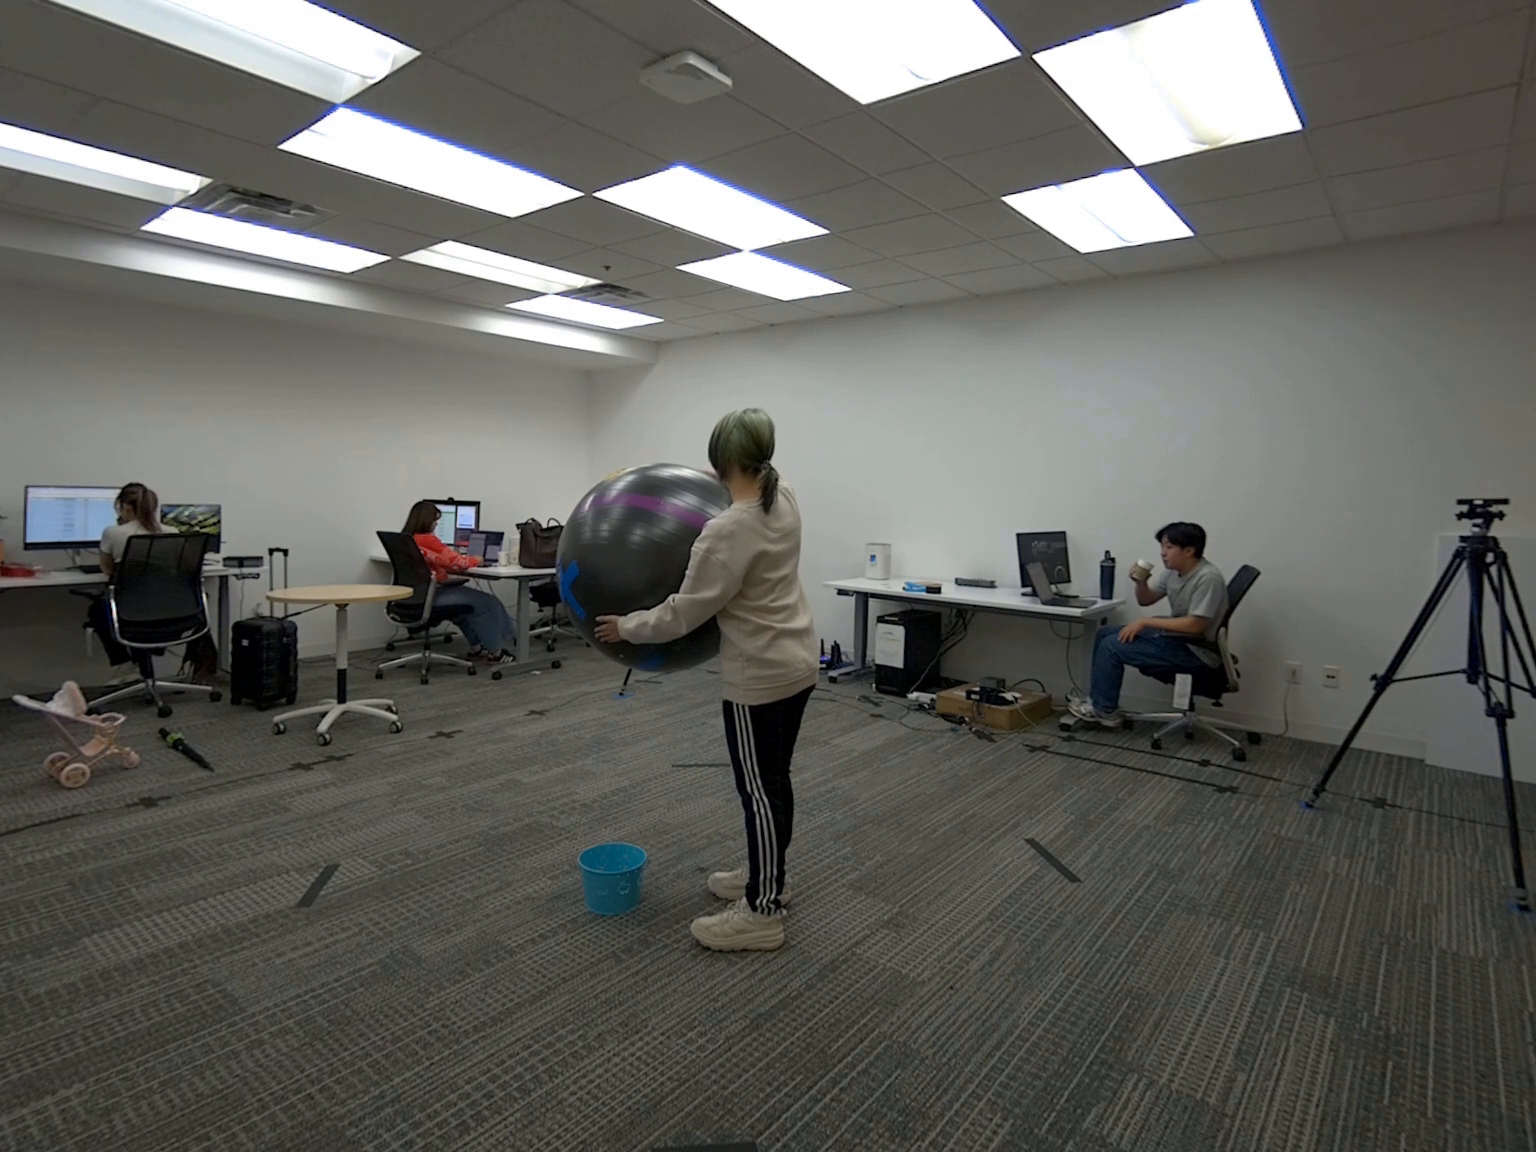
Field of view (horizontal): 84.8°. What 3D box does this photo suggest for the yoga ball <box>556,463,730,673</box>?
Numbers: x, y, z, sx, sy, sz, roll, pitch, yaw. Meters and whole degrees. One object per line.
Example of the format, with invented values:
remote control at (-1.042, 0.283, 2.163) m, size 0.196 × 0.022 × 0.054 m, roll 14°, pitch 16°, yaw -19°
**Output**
yoga ball at (-0.407, -0.036, 3.117) m, size 0.757 × 0.756 × 0.761 m, roll 1°, pitch 4°, yaw -2°
